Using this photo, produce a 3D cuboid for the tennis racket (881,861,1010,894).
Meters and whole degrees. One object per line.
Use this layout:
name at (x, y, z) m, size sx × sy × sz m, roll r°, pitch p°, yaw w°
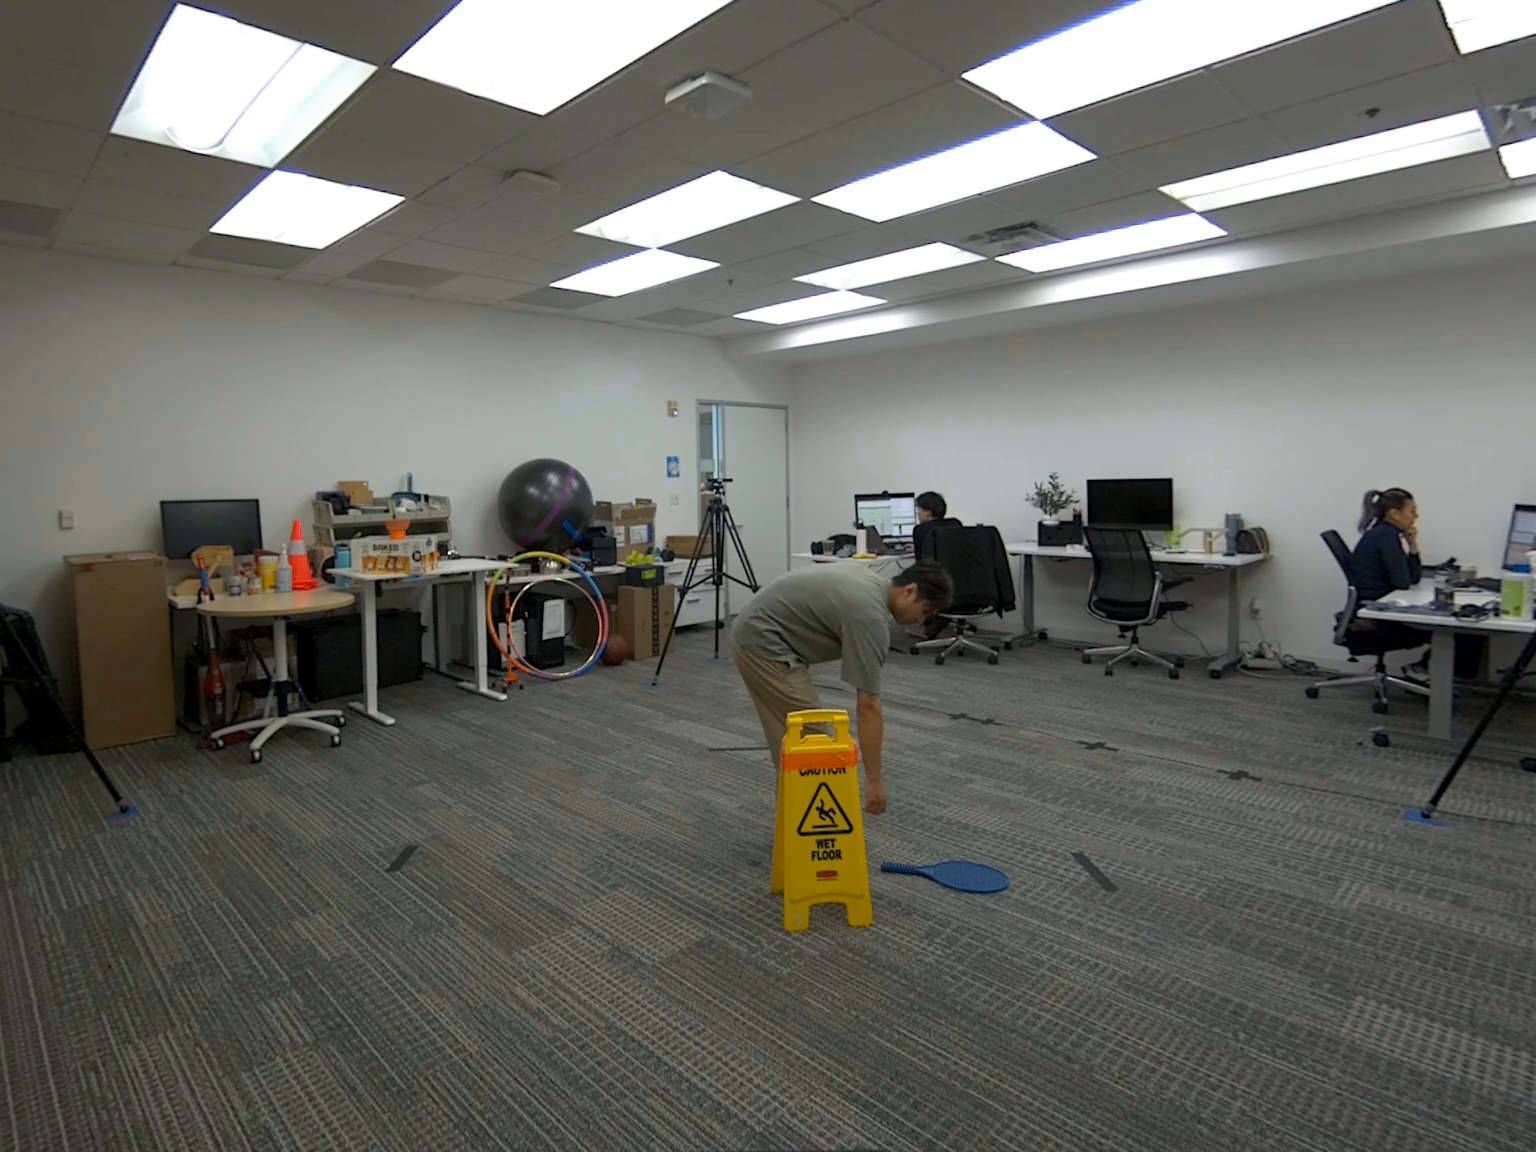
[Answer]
tennis racket at (0.614, 1.034, 2.977) m, size 0.439 × 0.031 × 0.211 m, roll 2°, pitch 6°, yaw 15°
